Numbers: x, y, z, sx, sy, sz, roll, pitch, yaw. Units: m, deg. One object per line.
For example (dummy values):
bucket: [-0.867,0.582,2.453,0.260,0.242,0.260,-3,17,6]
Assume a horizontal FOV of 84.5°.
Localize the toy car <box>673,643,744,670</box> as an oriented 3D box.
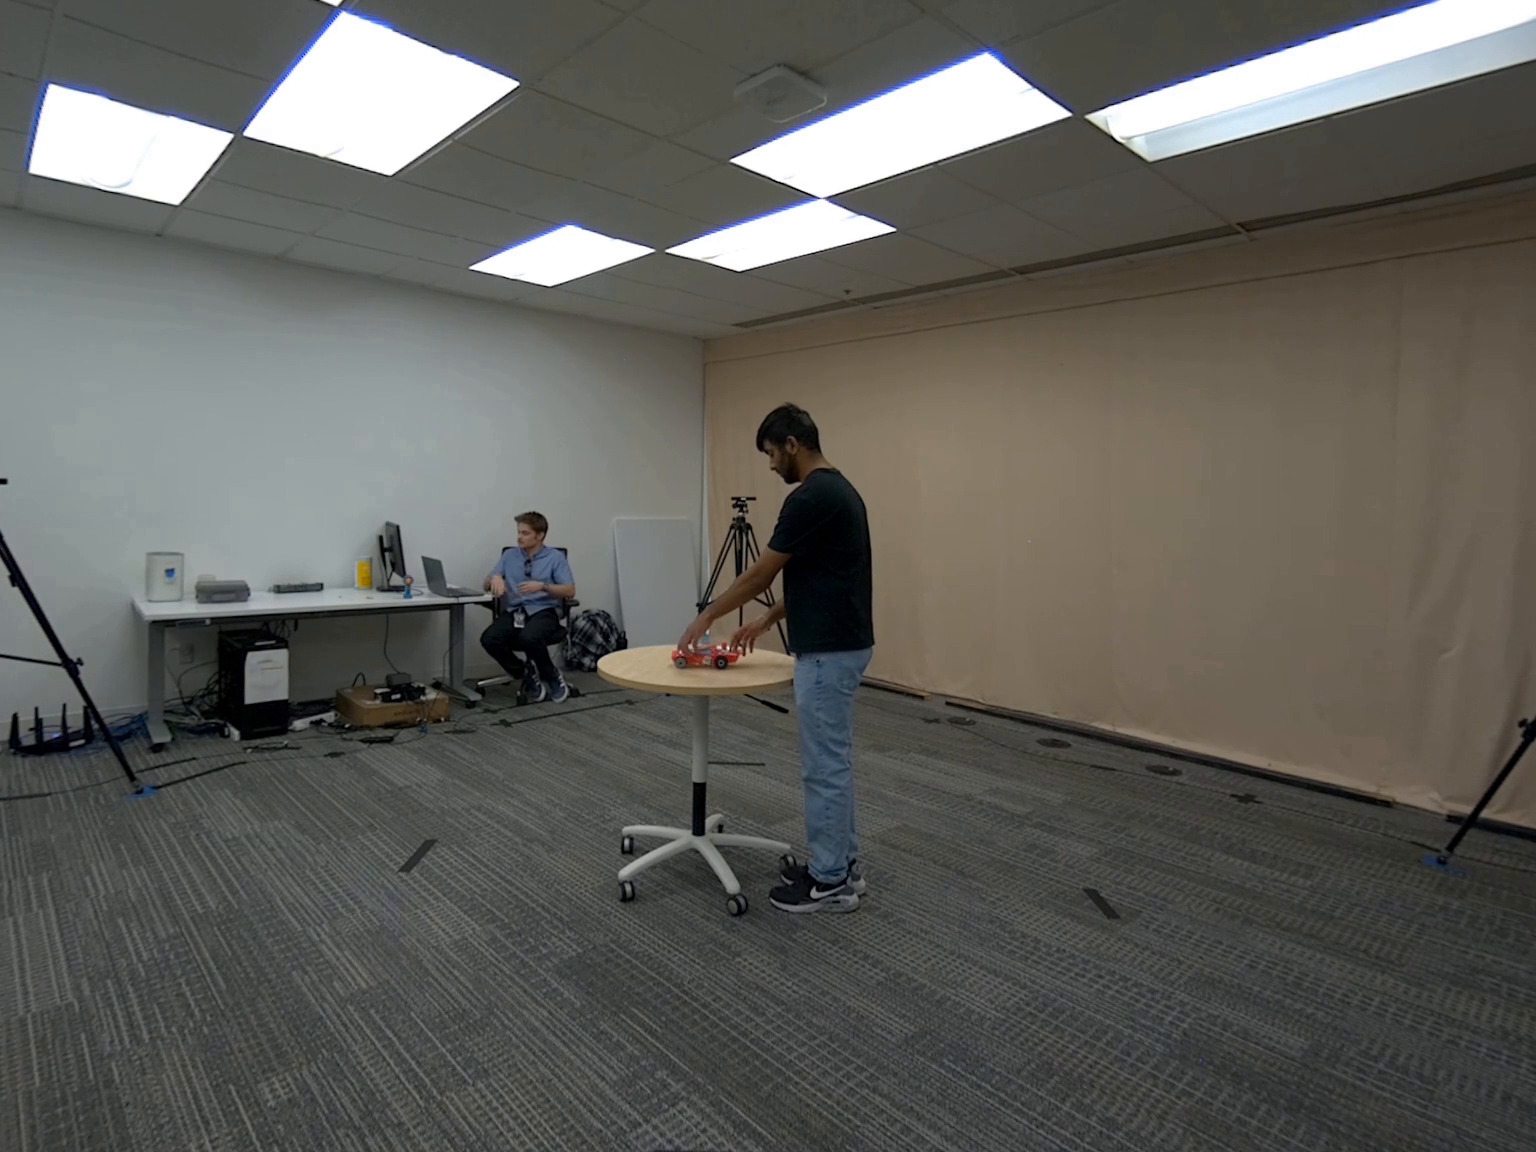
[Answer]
toy car: [-0.221,0.293,3.052,0.254,0.083,0.131,-11,7,-1]
